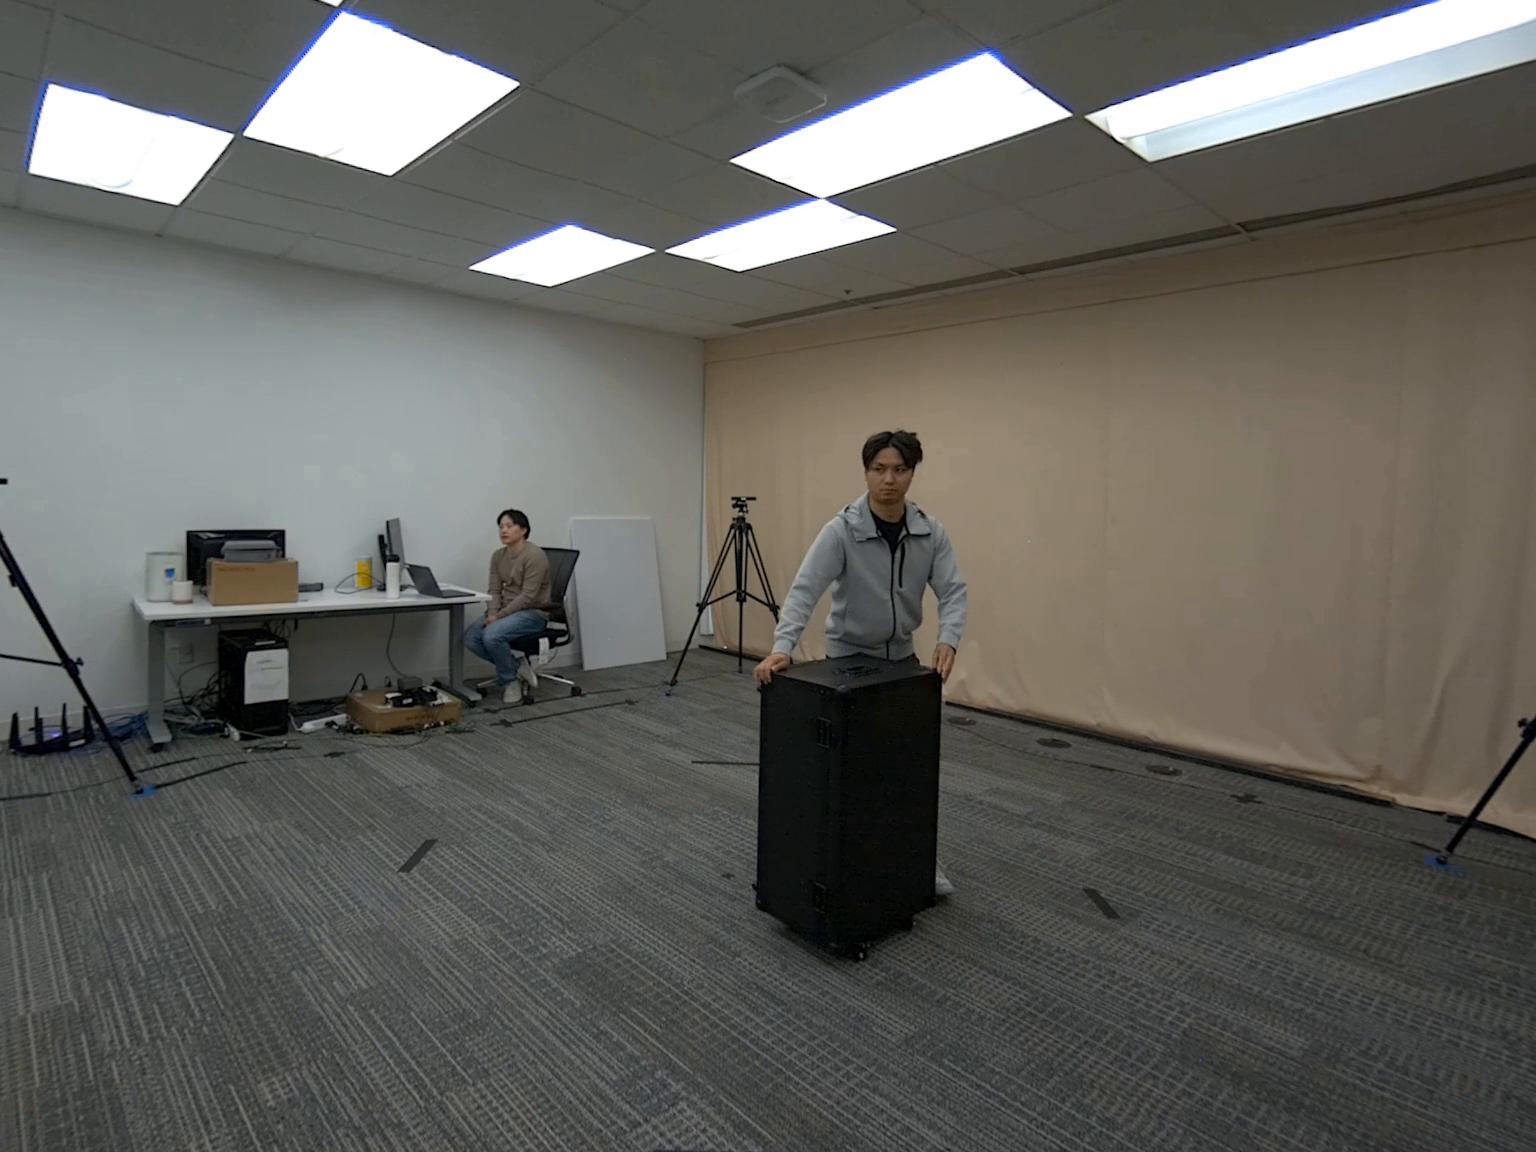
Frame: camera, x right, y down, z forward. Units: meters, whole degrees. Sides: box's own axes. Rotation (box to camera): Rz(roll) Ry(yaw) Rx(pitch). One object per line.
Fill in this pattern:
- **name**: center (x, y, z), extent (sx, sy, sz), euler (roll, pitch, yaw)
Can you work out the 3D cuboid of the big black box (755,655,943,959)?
- **big black box**: center (0.248, 0.725, 2.727), extent (0.509, 0.860, 0.406), euler (-2, 4, -41)
